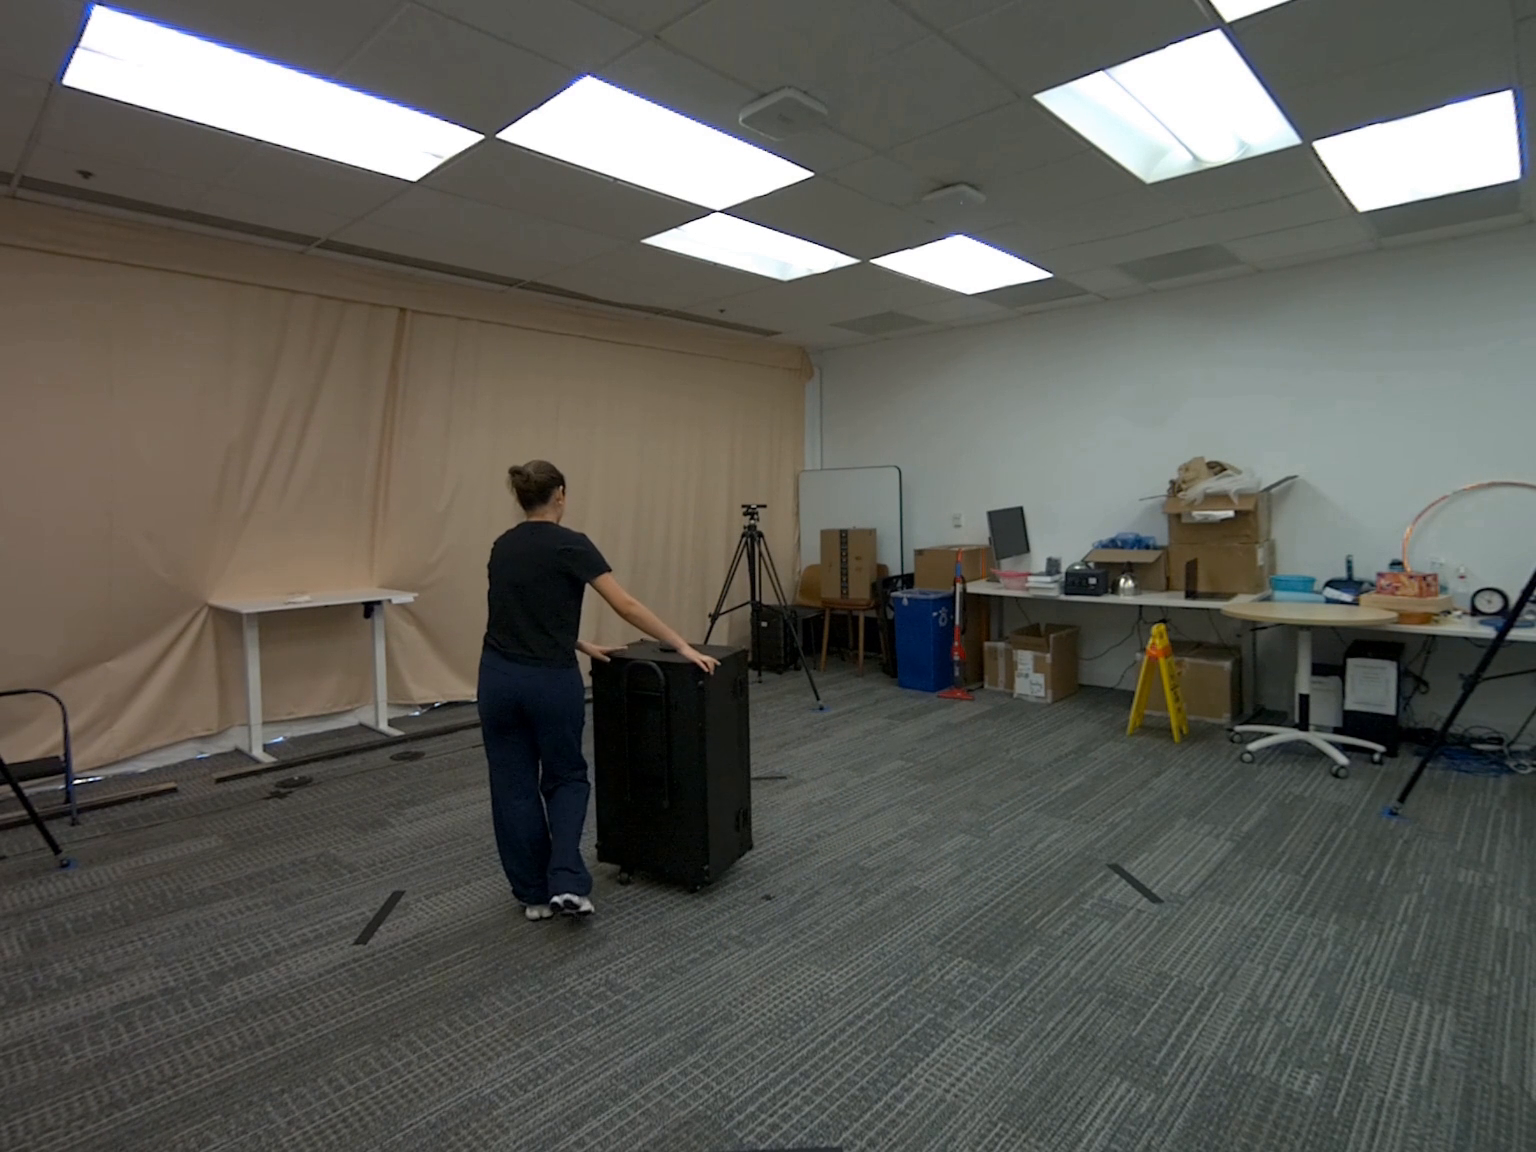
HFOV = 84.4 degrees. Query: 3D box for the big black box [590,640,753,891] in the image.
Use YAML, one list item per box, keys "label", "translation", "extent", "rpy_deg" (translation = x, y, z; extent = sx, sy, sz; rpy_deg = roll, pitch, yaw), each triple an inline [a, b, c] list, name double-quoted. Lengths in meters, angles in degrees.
- label: "big black box"
  translation: [-0.343, 0.704, 3.171]
  extent: [0.535, 0.859, 0.387]
  rpy_deg: [1, 5, 25]
